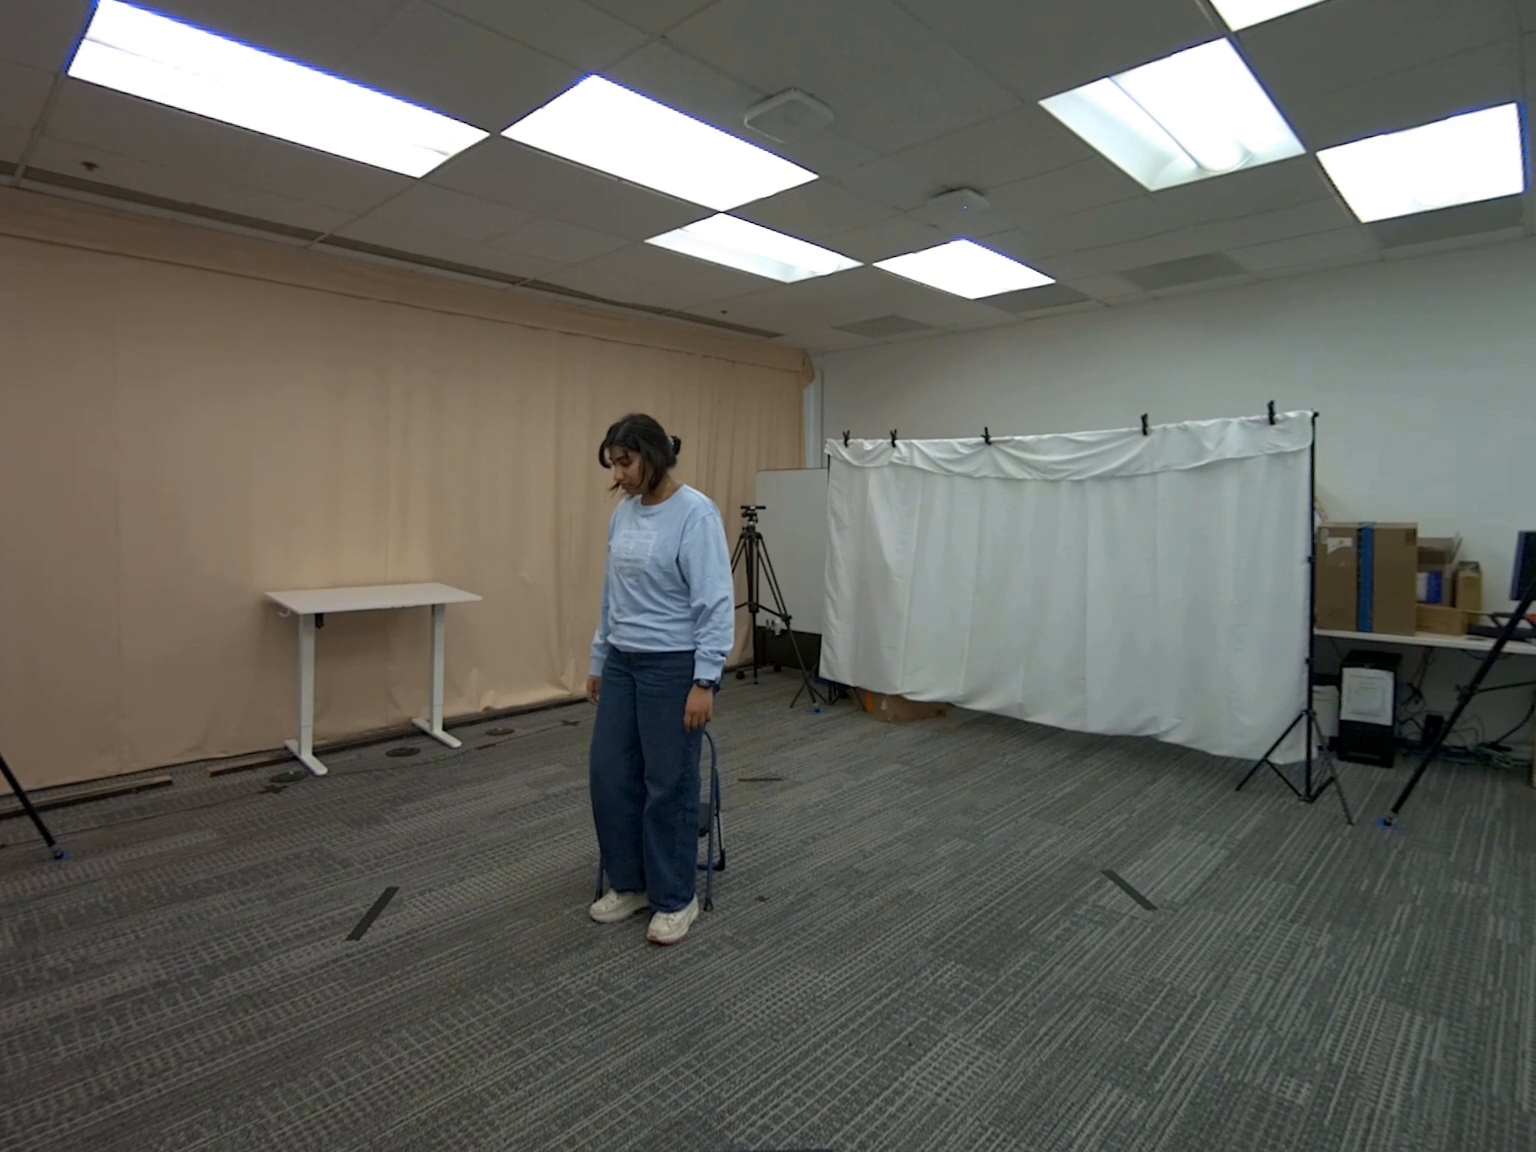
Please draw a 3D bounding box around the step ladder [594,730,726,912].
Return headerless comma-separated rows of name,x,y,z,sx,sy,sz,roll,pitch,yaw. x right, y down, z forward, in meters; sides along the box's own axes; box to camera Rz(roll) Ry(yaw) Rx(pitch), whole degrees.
step ladder,-0.389,0.836,3.086,0.435,0.604,0.347,0,4,9
